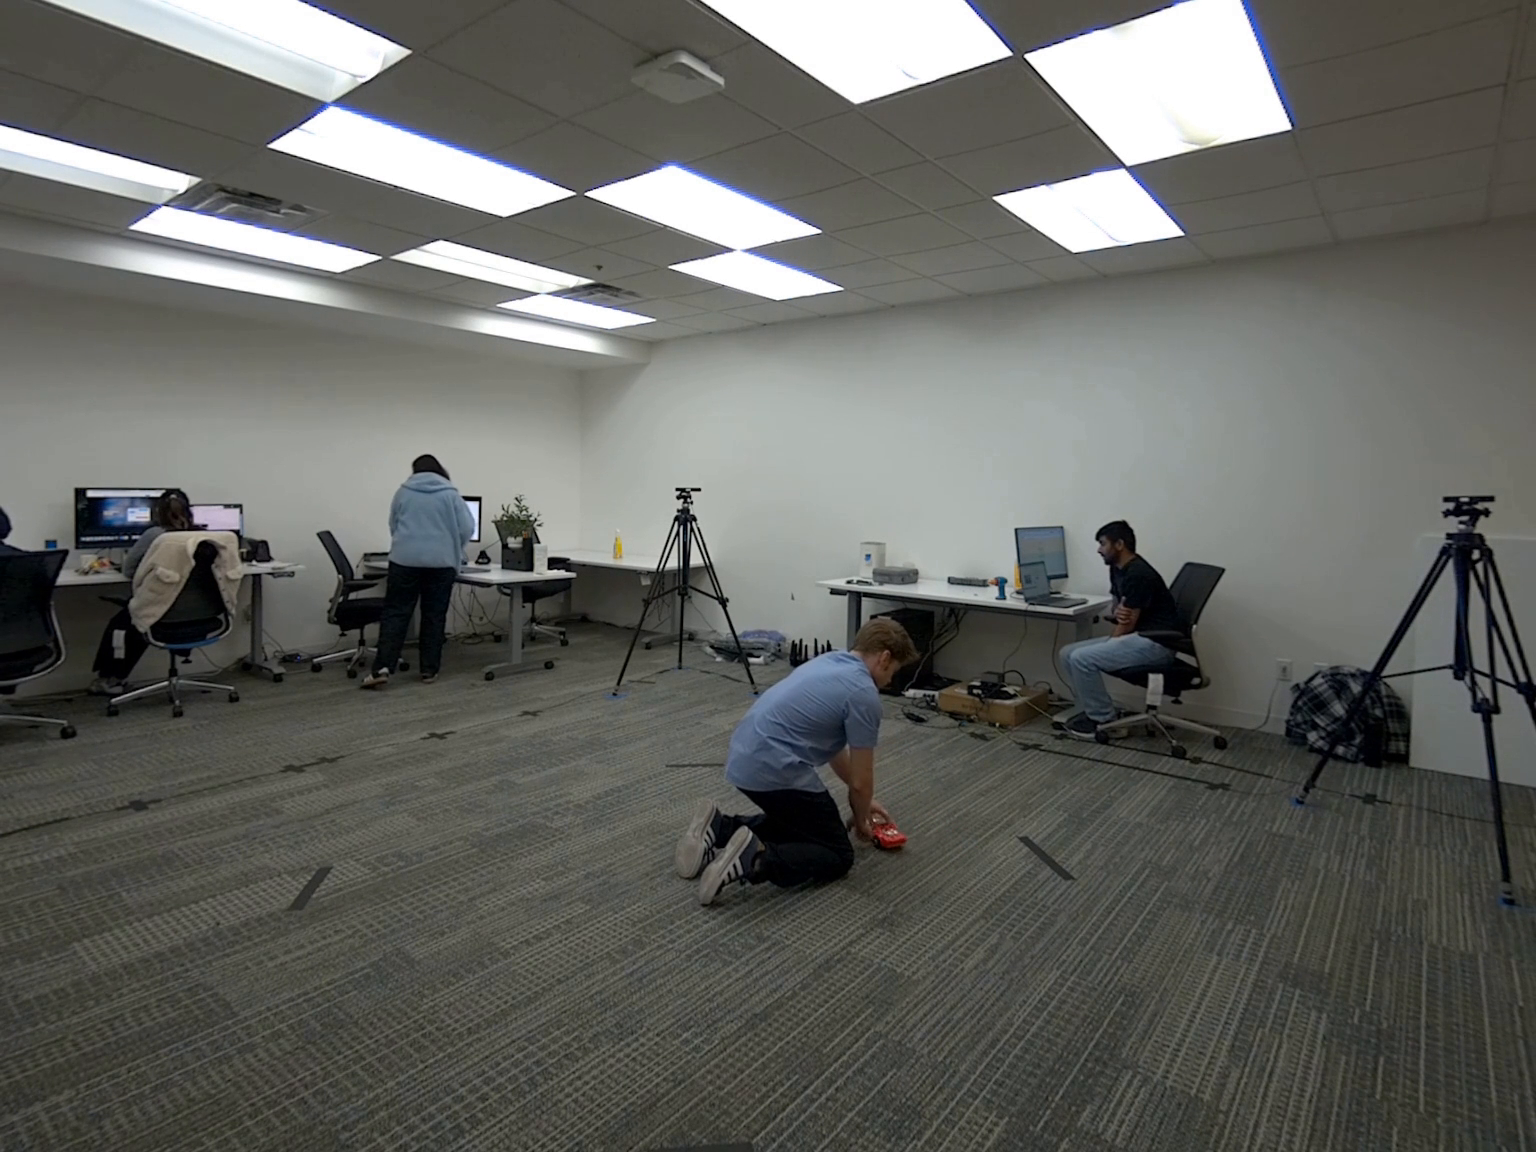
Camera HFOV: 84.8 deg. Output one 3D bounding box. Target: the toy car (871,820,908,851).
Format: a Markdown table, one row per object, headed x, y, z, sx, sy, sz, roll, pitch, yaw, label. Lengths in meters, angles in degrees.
| x | y | z | sx | sy | sz | roll | pitch | yaw | label |
| --- | --- | --- | --- | --- | --- | --- | --- | --- | --- |
| 0.452 | 1.026 | 3.383 | 0.127 | 0.083 | 0.259 | -1 | -4 | -24 | toy car |
